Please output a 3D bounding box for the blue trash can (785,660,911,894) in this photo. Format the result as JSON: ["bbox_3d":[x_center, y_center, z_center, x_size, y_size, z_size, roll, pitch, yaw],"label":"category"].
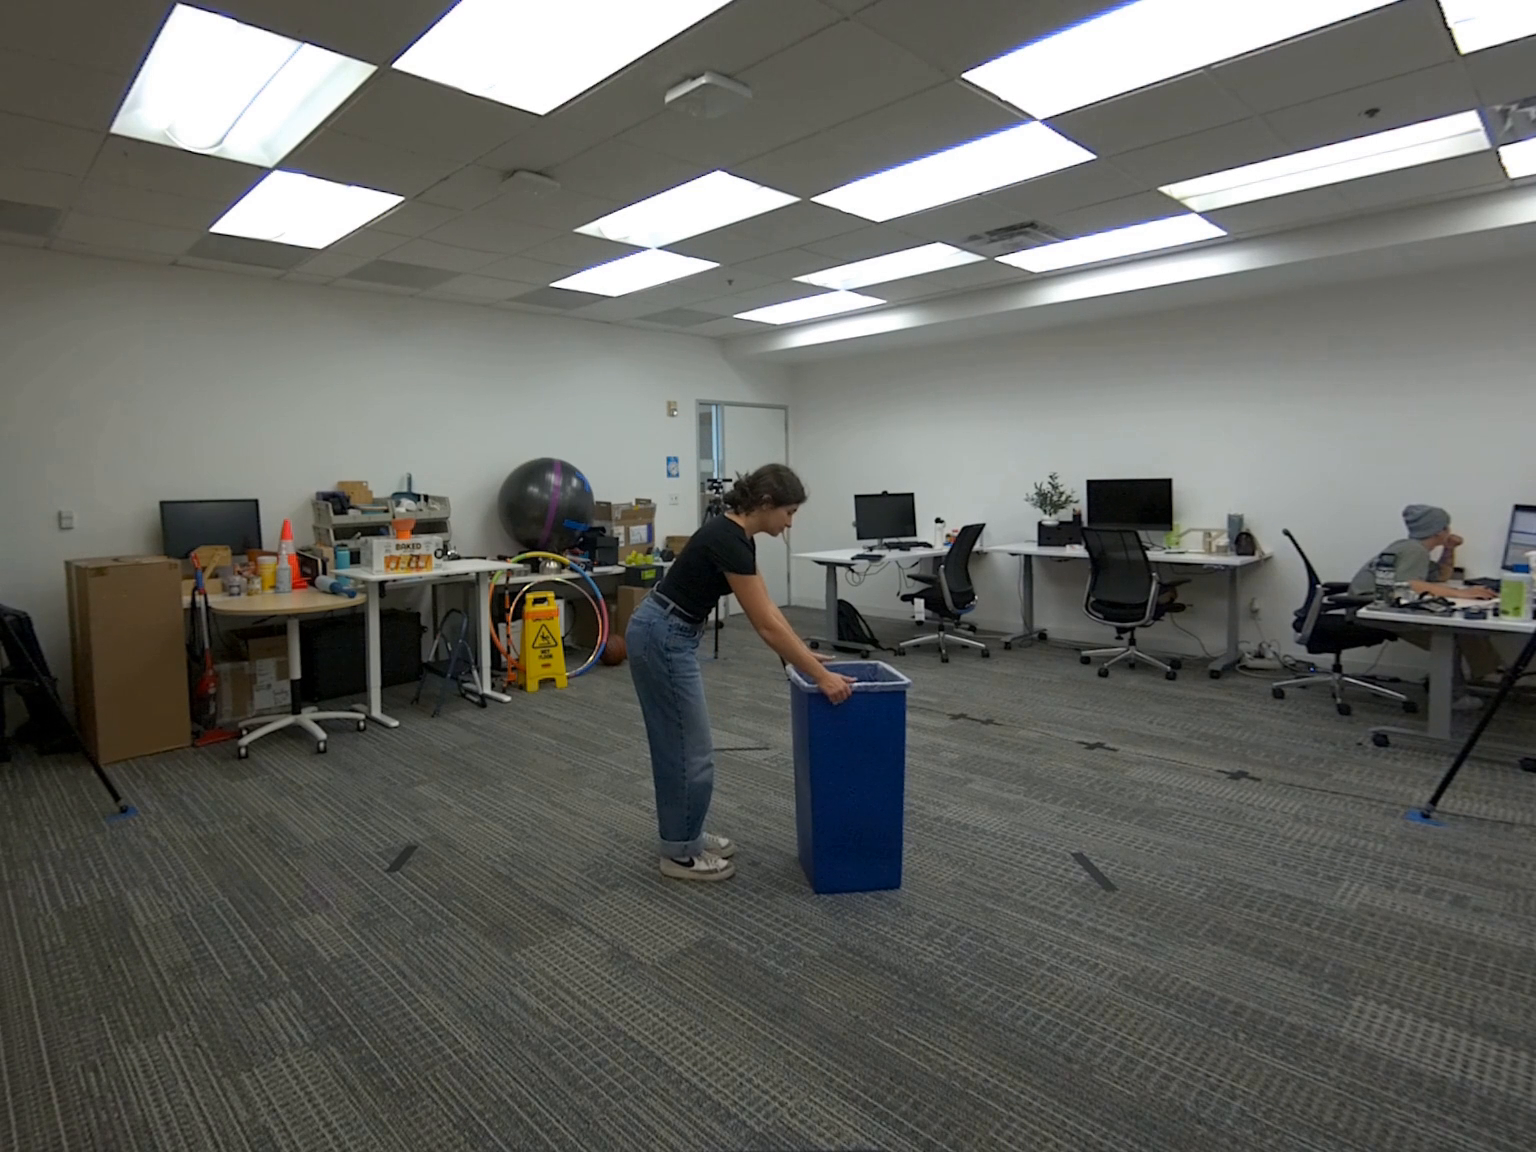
[{"bbox_3d":[0.271,0.687,3.006,0.375,0.710,0.379,-1,5,-9],"label":"blue trash can"}]
